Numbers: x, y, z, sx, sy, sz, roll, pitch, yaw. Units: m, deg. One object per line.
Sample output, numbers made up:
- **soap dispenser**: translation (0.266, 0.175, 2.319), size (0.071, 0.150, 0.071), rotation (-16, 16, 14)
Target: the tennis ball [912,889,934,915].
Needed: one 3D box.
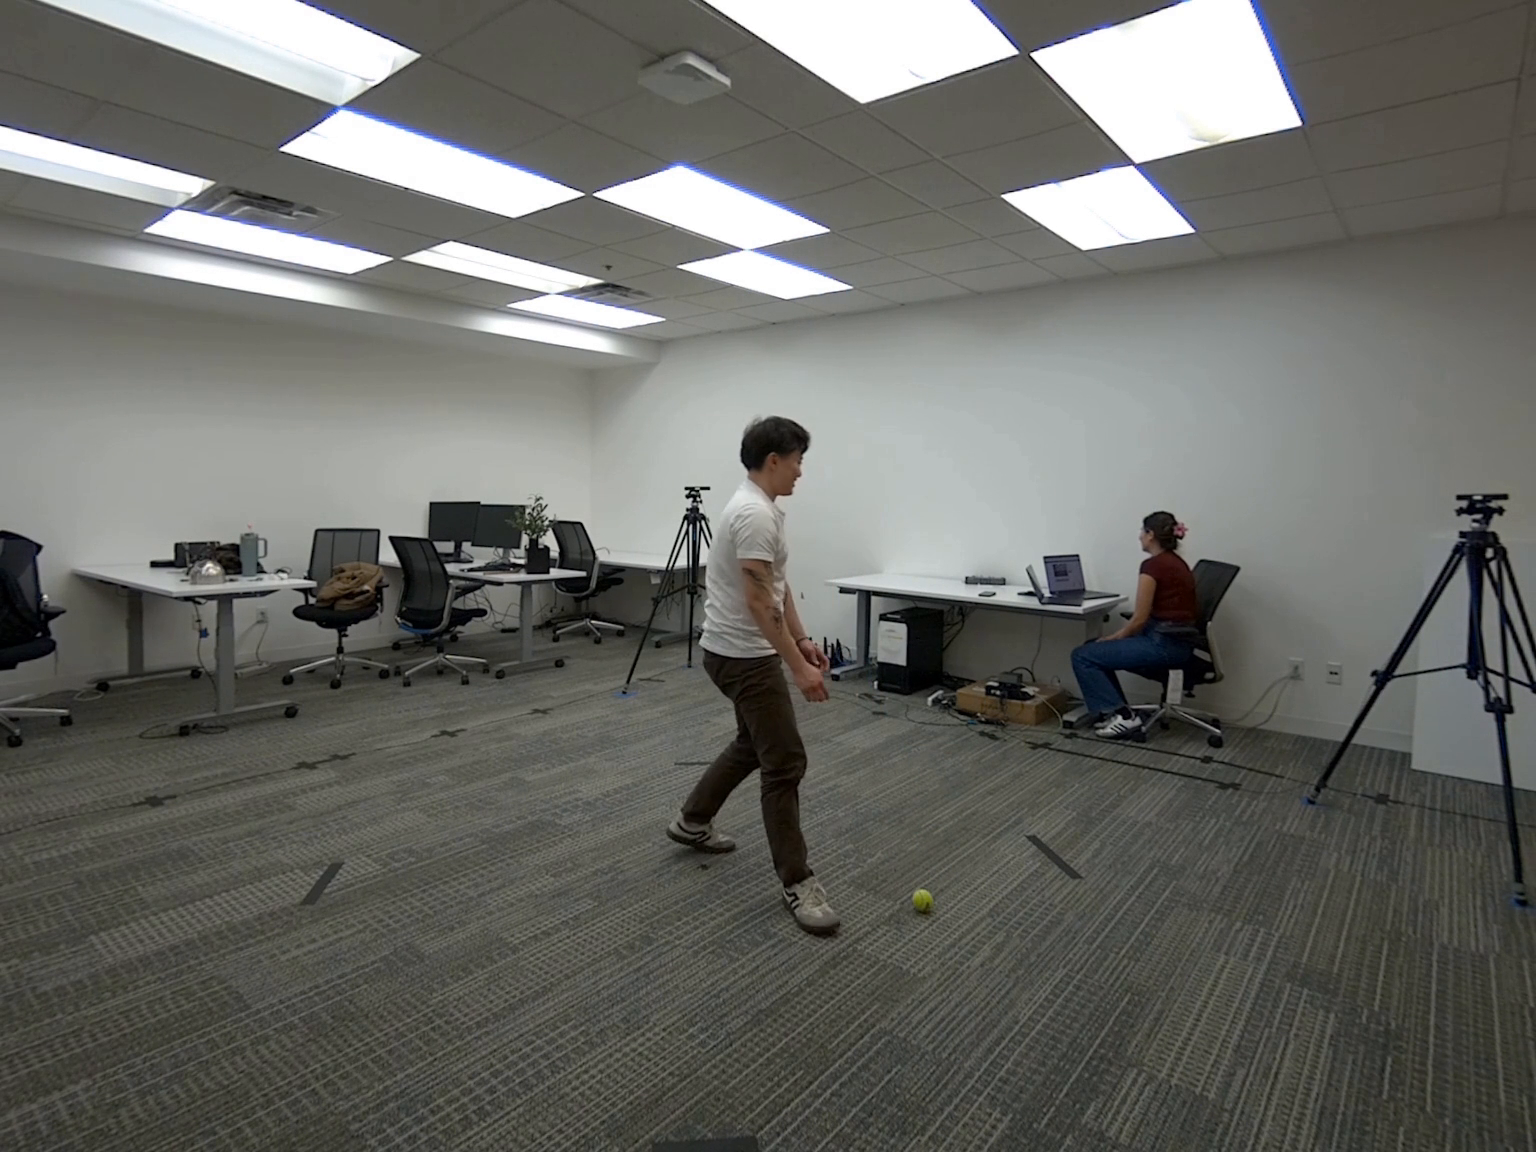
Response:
- **tennis ball**: translation (0.509, 1.070, 2.819), size (0.066, 0.066, 0.067), rotation (1, 4, -2)
